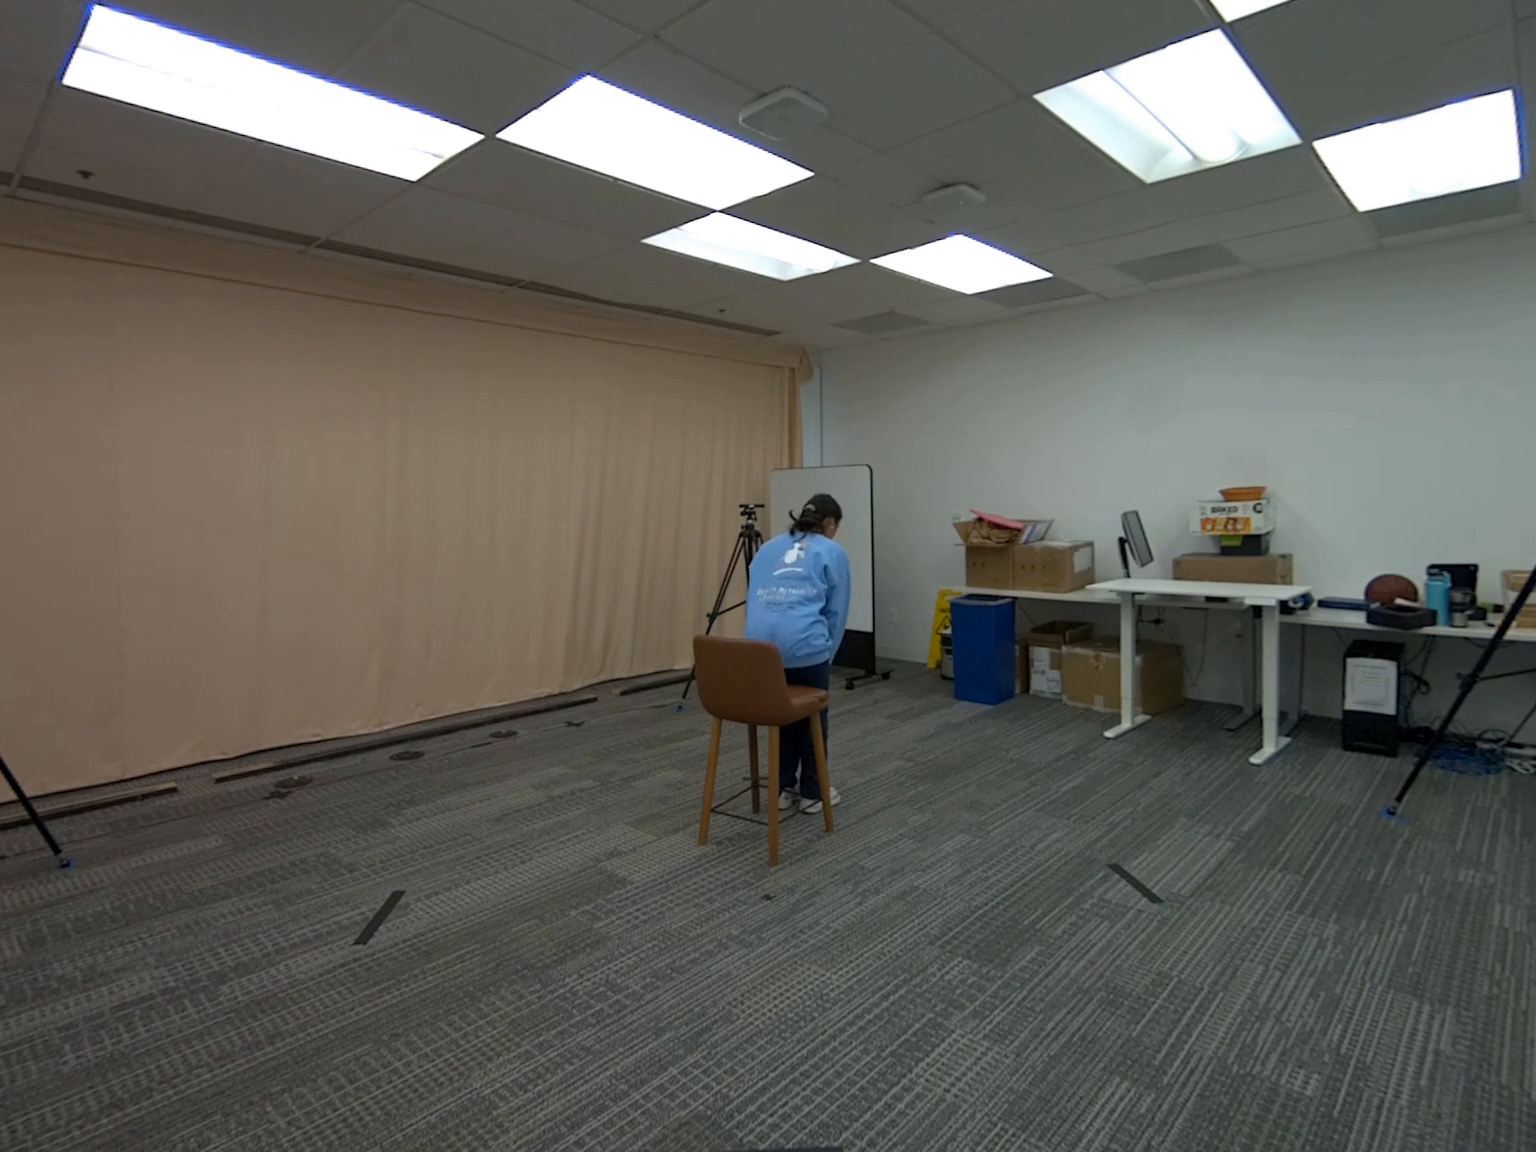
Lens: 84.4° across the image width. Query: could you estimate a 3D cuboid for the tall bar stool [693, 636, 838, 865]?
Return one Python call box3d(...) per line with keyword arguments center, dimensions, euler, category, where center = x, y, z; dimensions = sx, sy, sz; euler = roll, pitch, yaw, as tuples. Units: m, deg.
box3d(center=(-0.020, 0.659, 3.500), dimensions=(0.471, 0.887, 0.454), euler=(1, 5, 36), category="tall bar stool")
